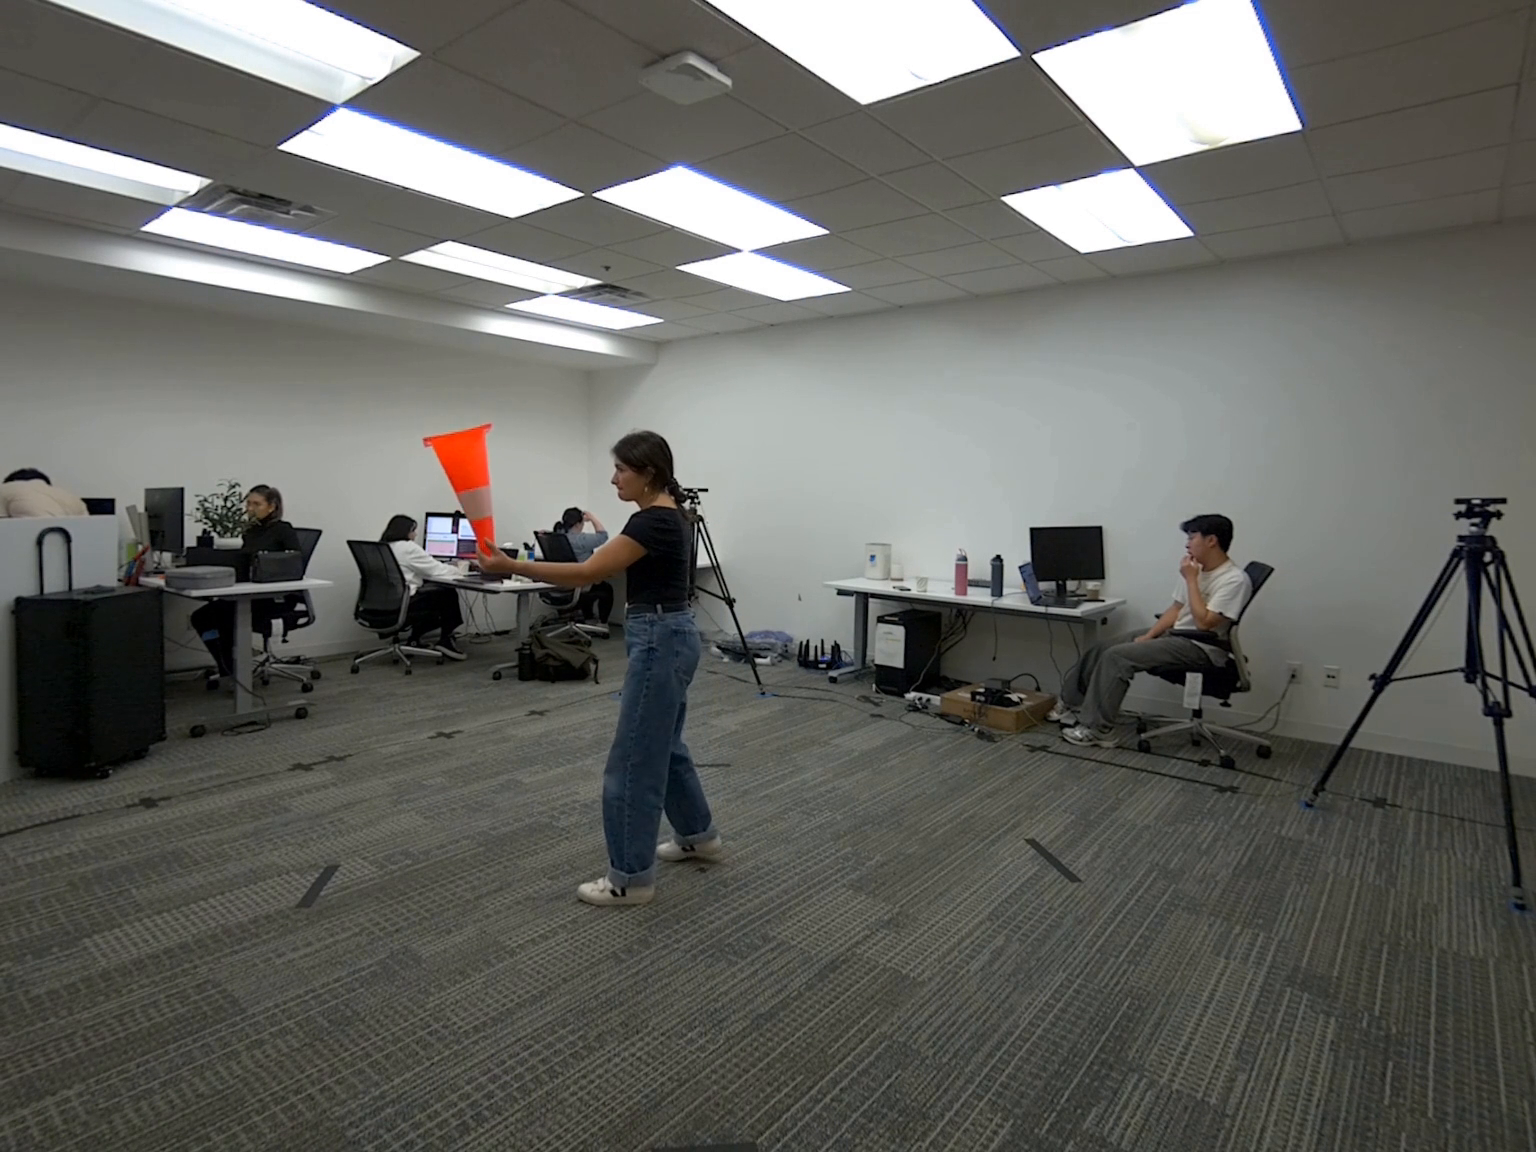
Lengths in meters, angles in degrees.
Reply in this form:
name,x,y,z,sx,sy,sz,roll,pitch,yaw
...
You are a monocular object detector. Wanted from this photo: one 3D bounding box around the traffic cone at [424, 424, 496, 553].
name,x,y,z,sx,sy,sz,roll,pitch,yaw
traffic cone,-0.884,-0.232,2.545,0.202,0.383,0.206,-15,2,-19
